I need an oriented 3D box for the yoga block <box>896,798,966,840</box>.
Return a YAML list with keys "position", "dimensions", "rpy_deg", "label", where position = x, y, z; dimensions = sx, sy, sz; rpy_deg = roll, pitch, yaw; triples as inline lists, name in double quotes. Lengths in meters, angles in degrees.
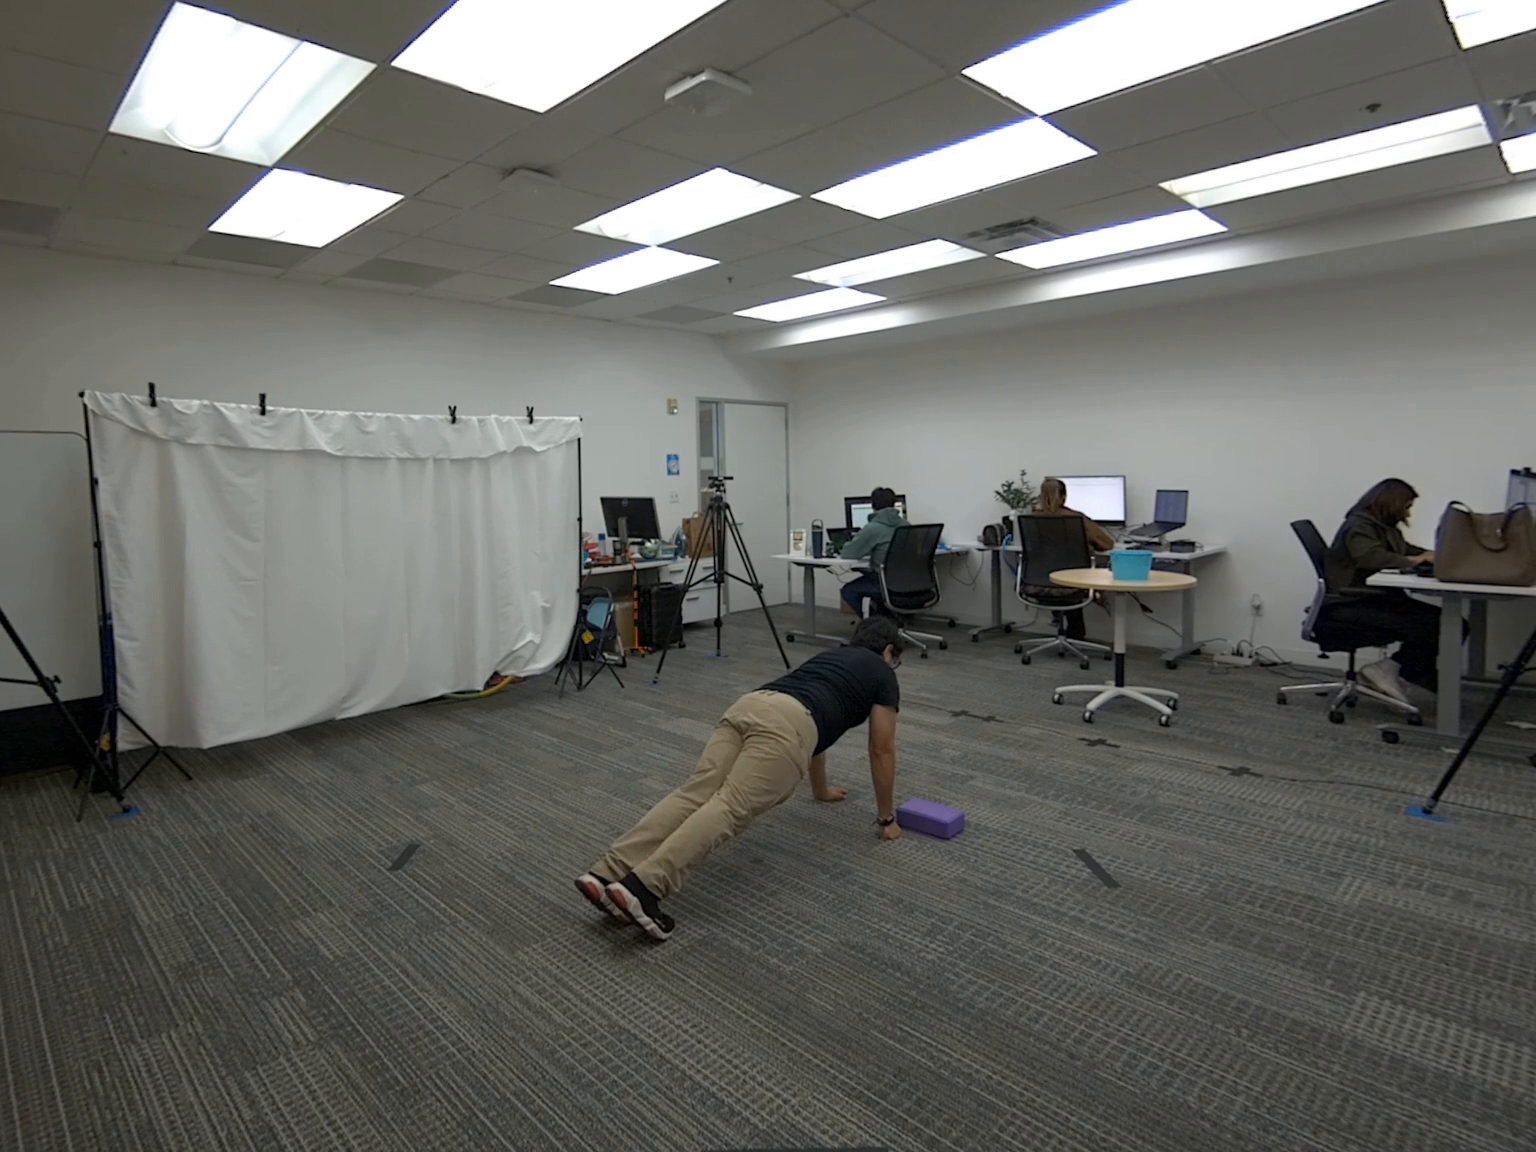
- position: [0.640, 0.951, 3.371]
  dimensions: [0.236, 0.076, 0.145]
  rpy_deg: [4, 7, 43]
  label: "yoga block"
